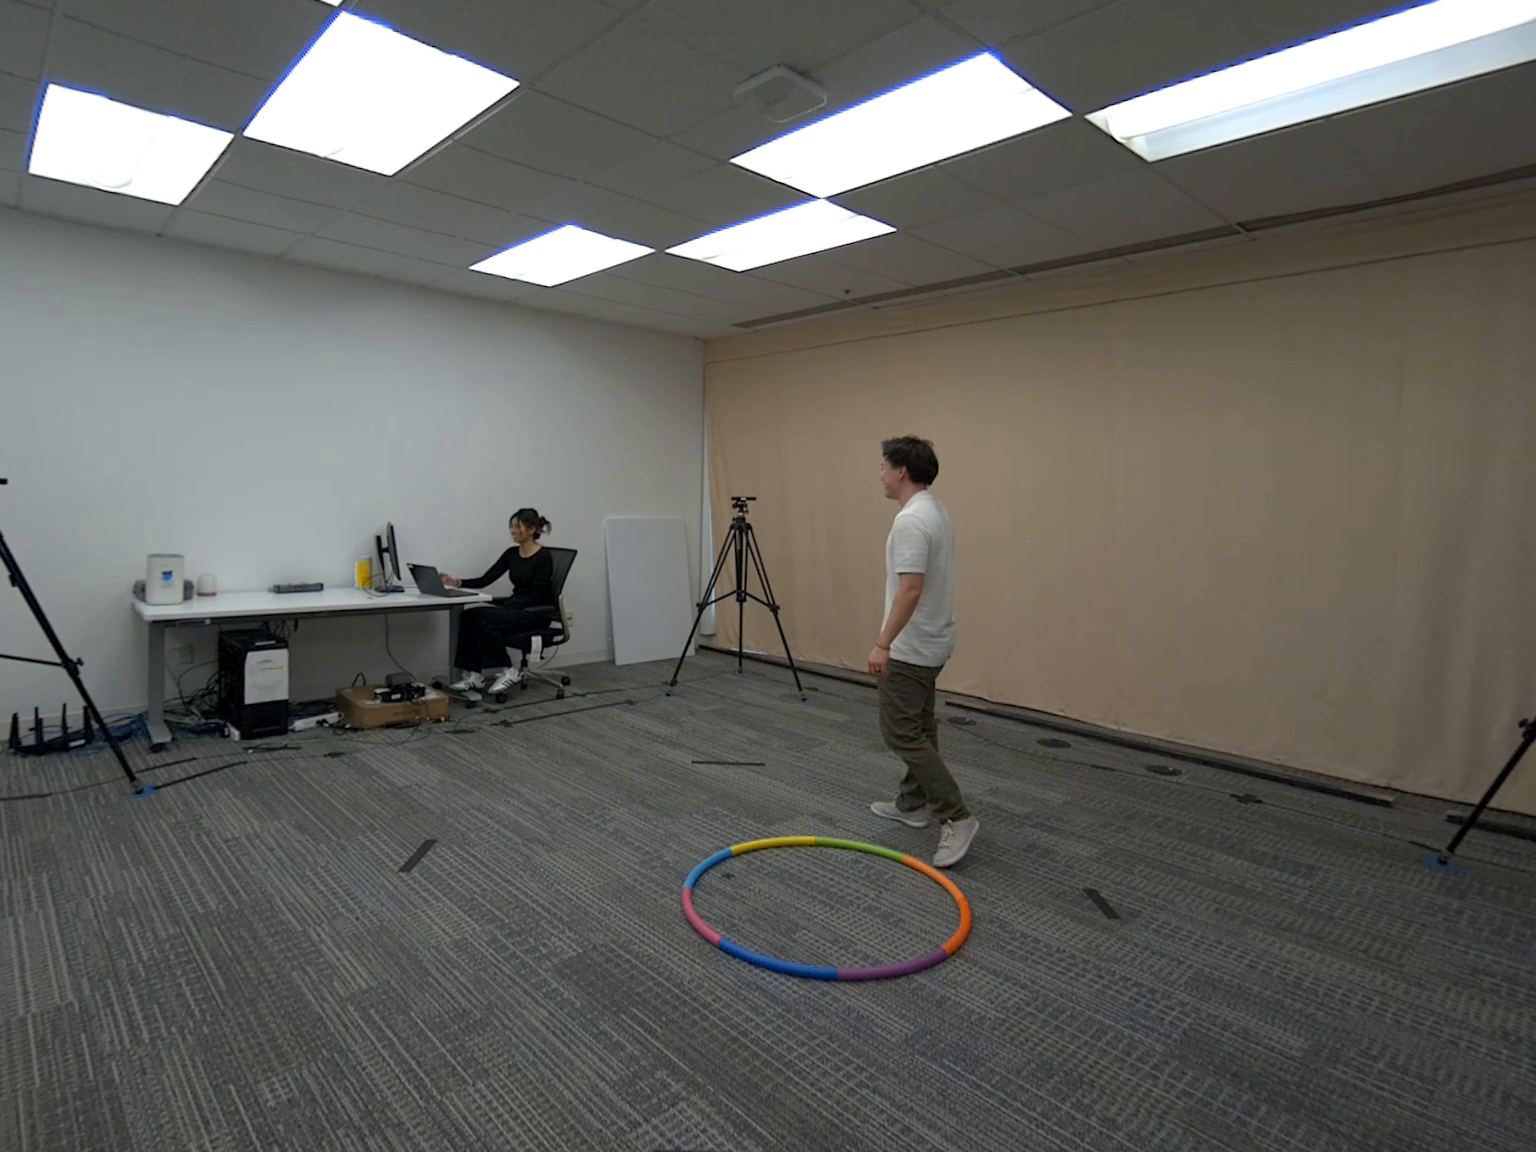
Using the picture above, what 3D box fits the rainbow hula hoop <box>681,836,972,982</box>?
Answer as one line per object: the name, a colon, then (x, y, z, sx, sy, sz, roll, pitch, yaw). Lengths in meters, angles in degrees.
rainbow hula hoop: (0.182, 1.102, 2.925, 0.978, 0.035, 0.982, 1, 5, -1)
